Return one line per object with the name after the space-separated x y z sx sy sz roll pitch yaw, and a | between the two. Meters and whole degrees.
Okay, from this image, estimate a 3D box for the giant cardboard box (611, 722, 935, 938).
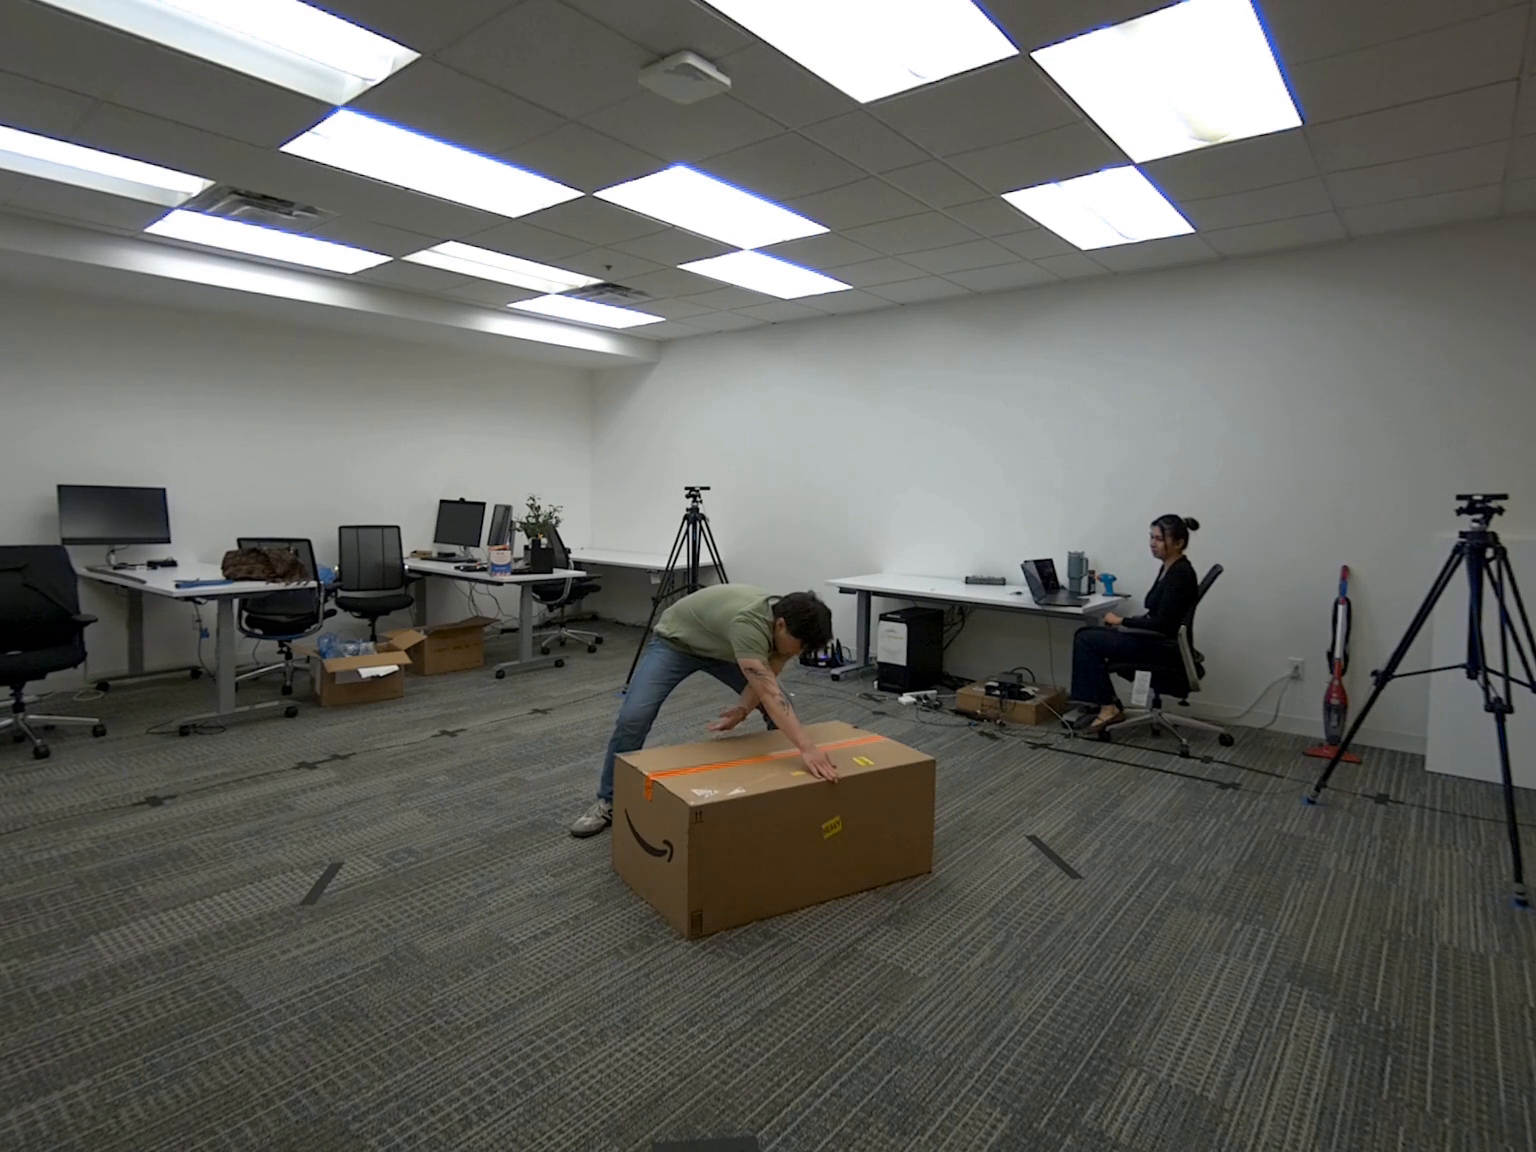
0.017 0.856 3.085 0.998 0.424 0.596 -2 6 -32 | giant cardboard box
